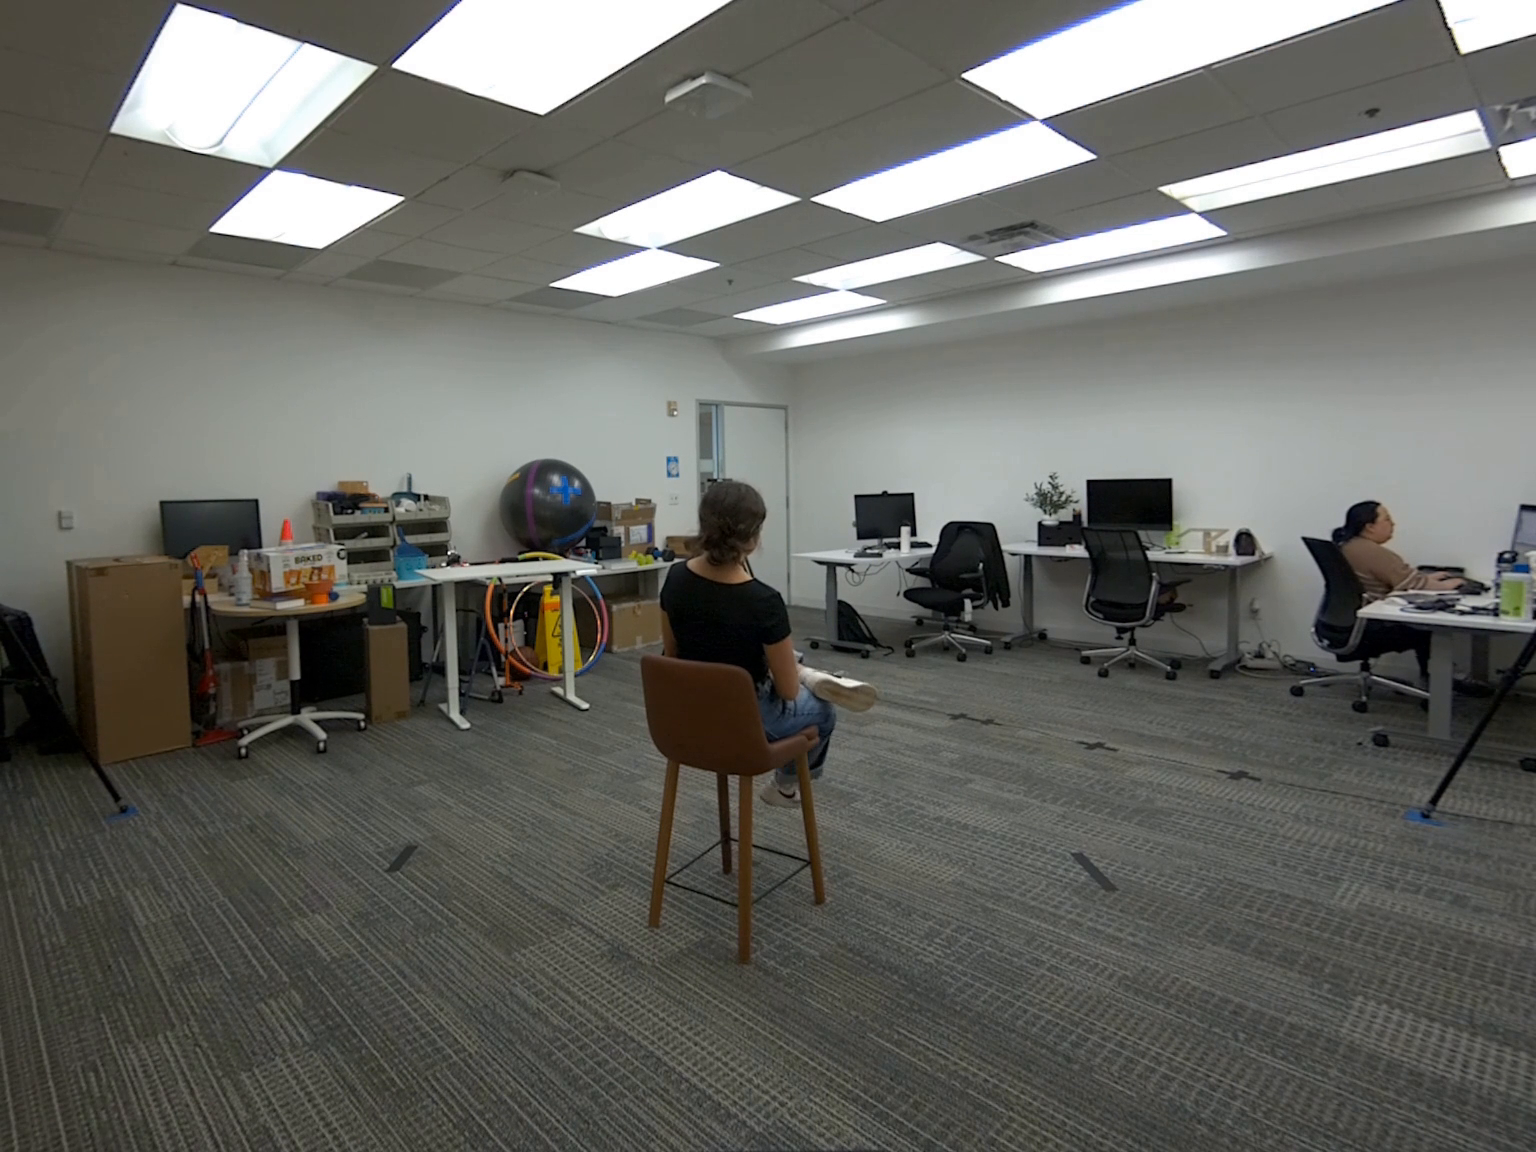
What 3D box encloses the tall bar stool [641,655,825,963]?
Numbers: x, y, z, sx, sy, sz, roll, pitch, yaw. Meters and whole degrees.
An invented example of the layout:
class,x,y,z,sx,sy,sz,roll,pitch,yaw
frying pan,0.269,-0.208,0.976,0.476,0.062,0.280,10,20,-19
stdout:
class,x,y,z,sx,sy,sz,roll,pitch,yaw
tall bar stool,-0.113,0.658,2.716,0.469,0.885,0.457,2,7,35
